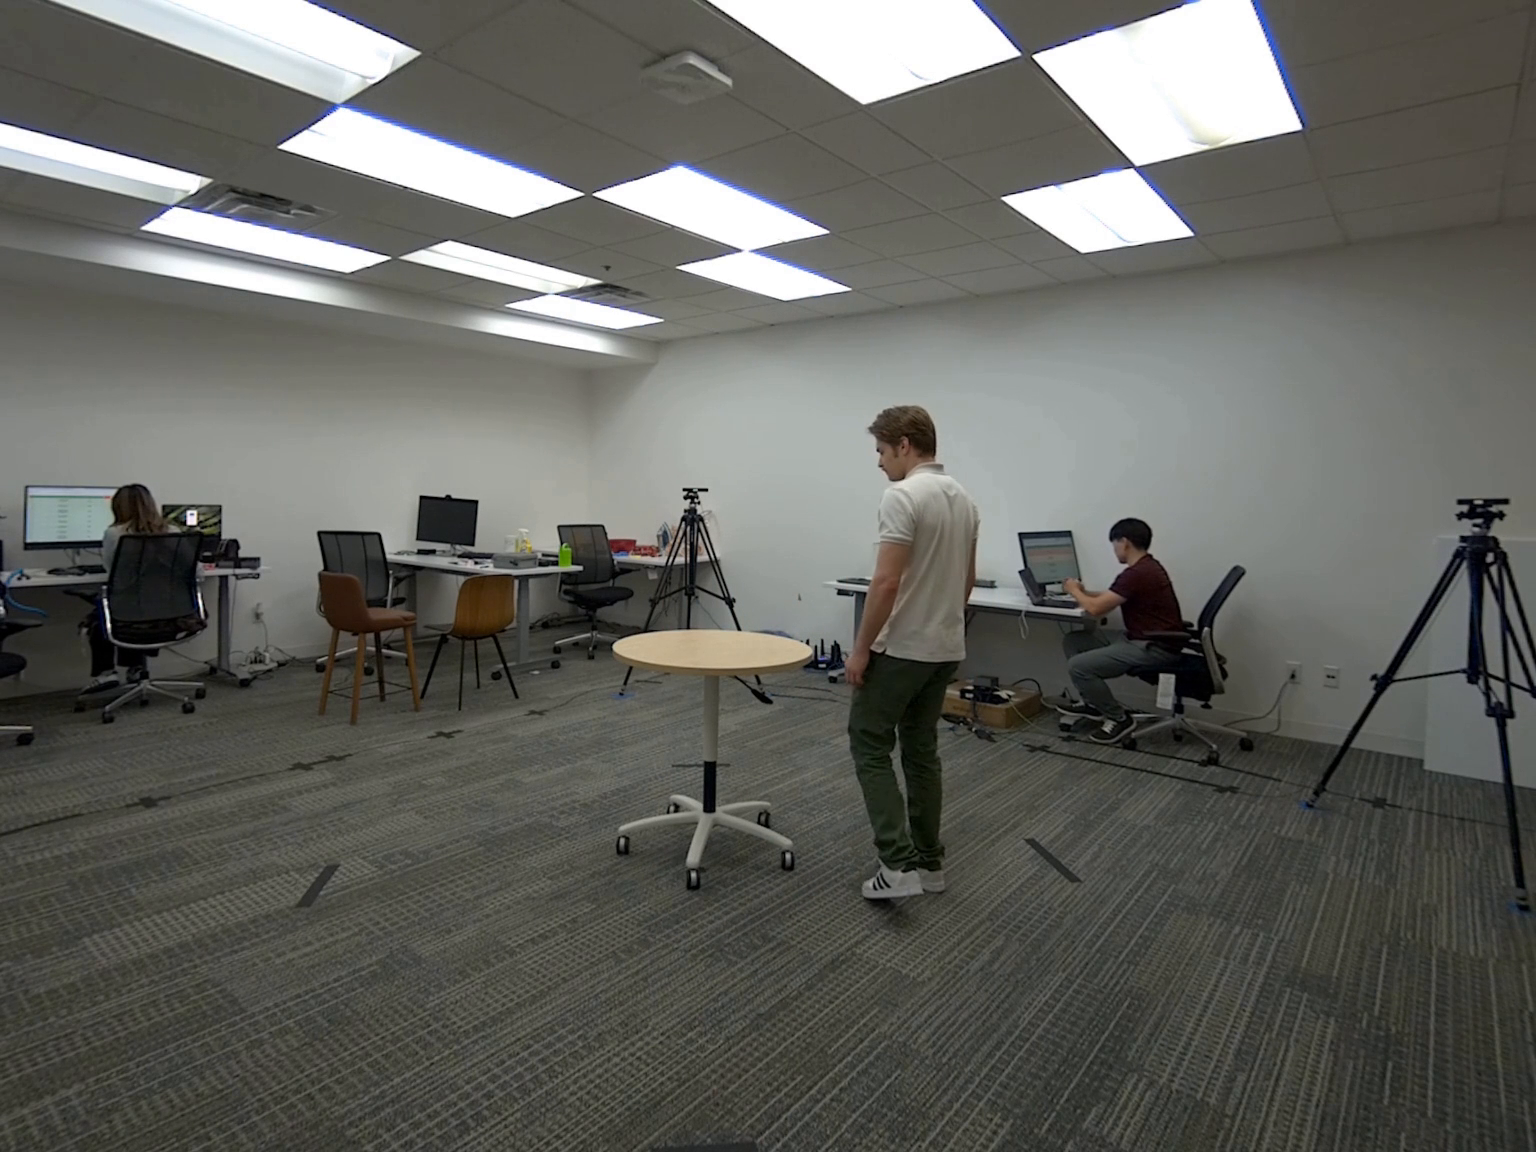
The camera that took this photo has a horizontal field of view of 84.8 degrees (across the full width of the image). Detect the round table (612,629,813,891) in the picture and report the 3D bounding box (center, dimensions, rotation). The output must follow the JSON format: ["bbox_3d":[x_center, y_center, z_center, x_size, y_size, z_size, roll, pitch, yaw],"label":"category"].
[{"bbox_3d":[-0.236,0.658,3.302,0.784,0.784,0.789,1,4,-2],"label":"round table"}]
